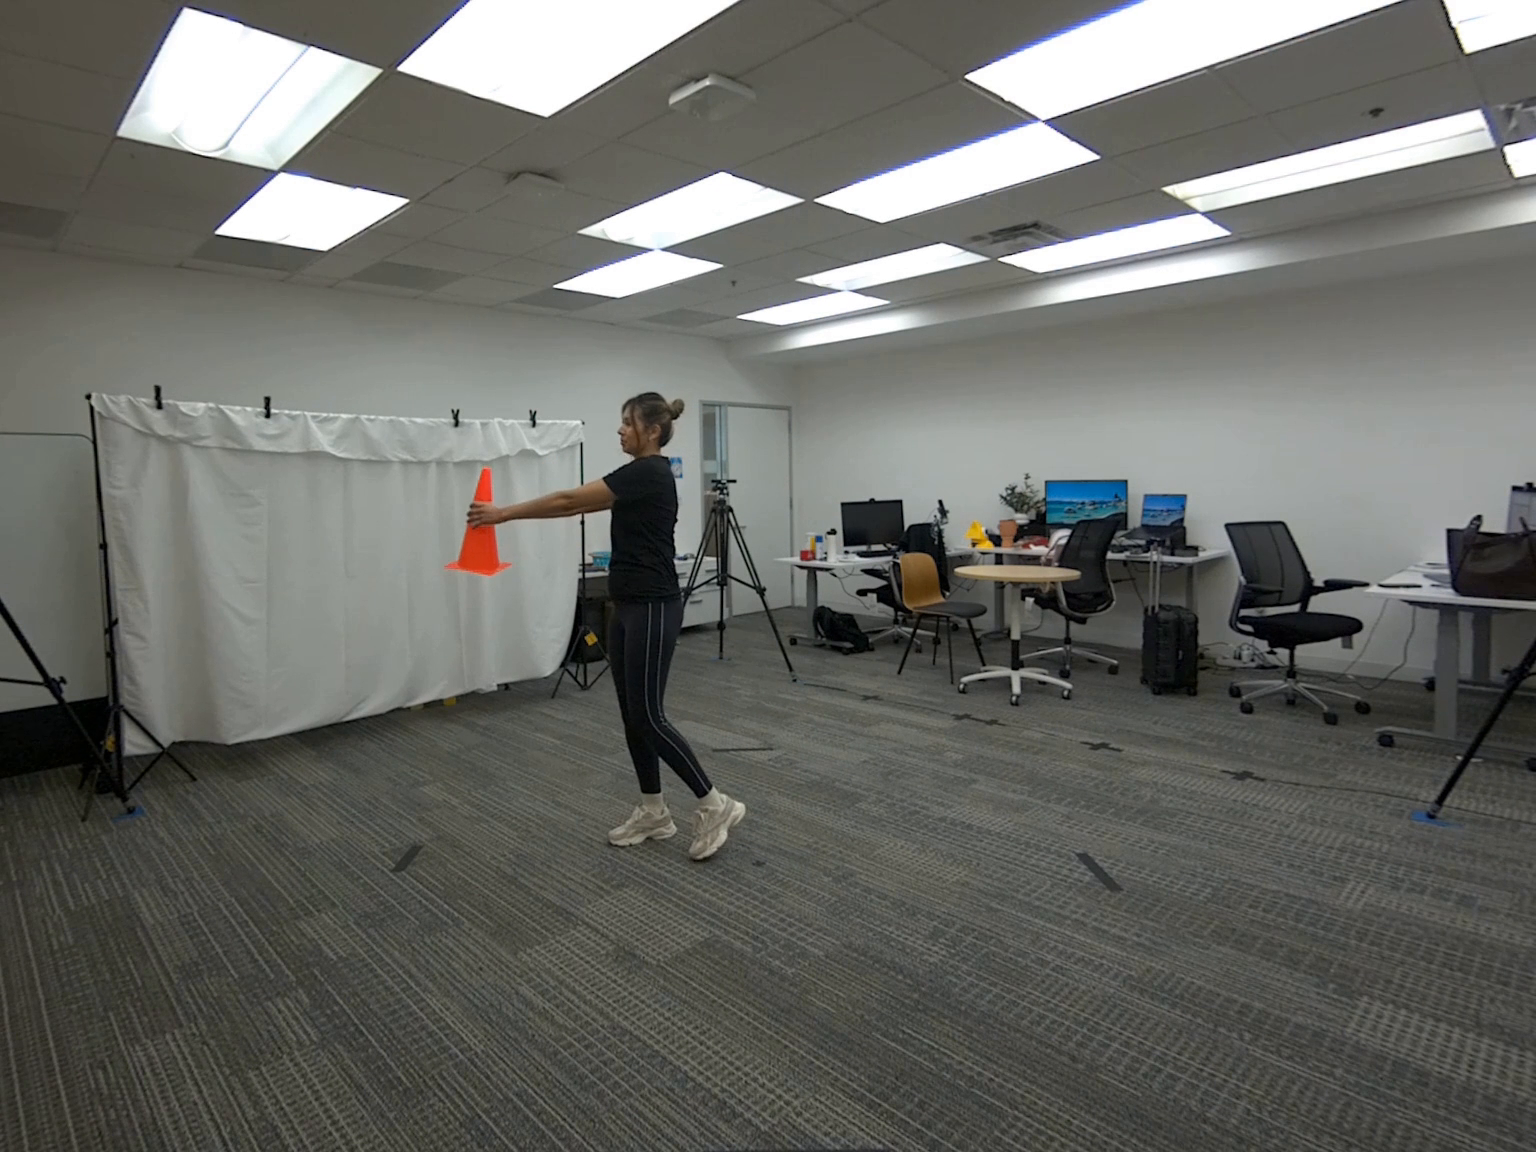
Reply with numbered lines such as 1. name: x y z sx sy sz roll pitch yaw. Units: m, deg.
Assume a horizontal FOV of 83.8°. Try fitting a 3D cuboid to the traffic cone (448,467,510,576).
1. traffic cone: -1.077 -0.220 3.243 0.210 0.380 0.200 11 12 22
